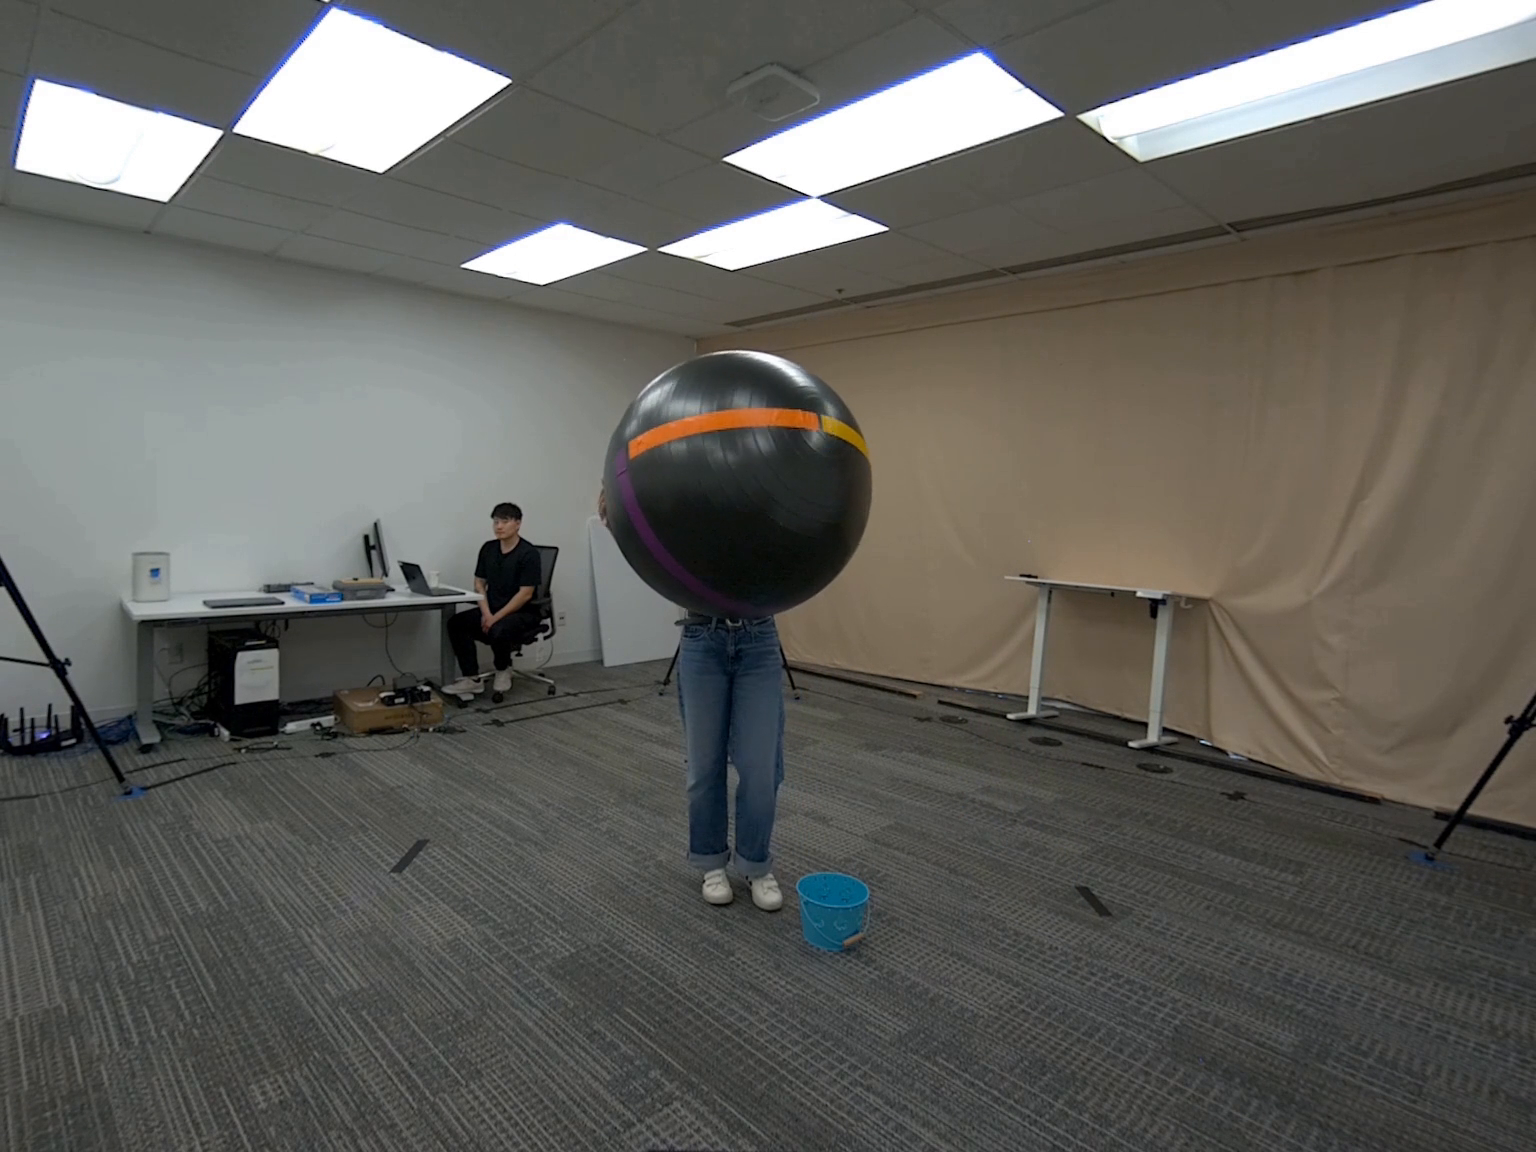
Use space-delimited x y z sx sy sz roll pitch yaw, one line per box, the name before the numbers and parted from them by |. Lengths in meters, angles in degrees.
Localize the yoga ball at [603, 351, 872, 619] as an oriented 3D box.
yoga ball | -0.084 -0.244 2.386 0.757 0.756 0.761 1 4 -1
